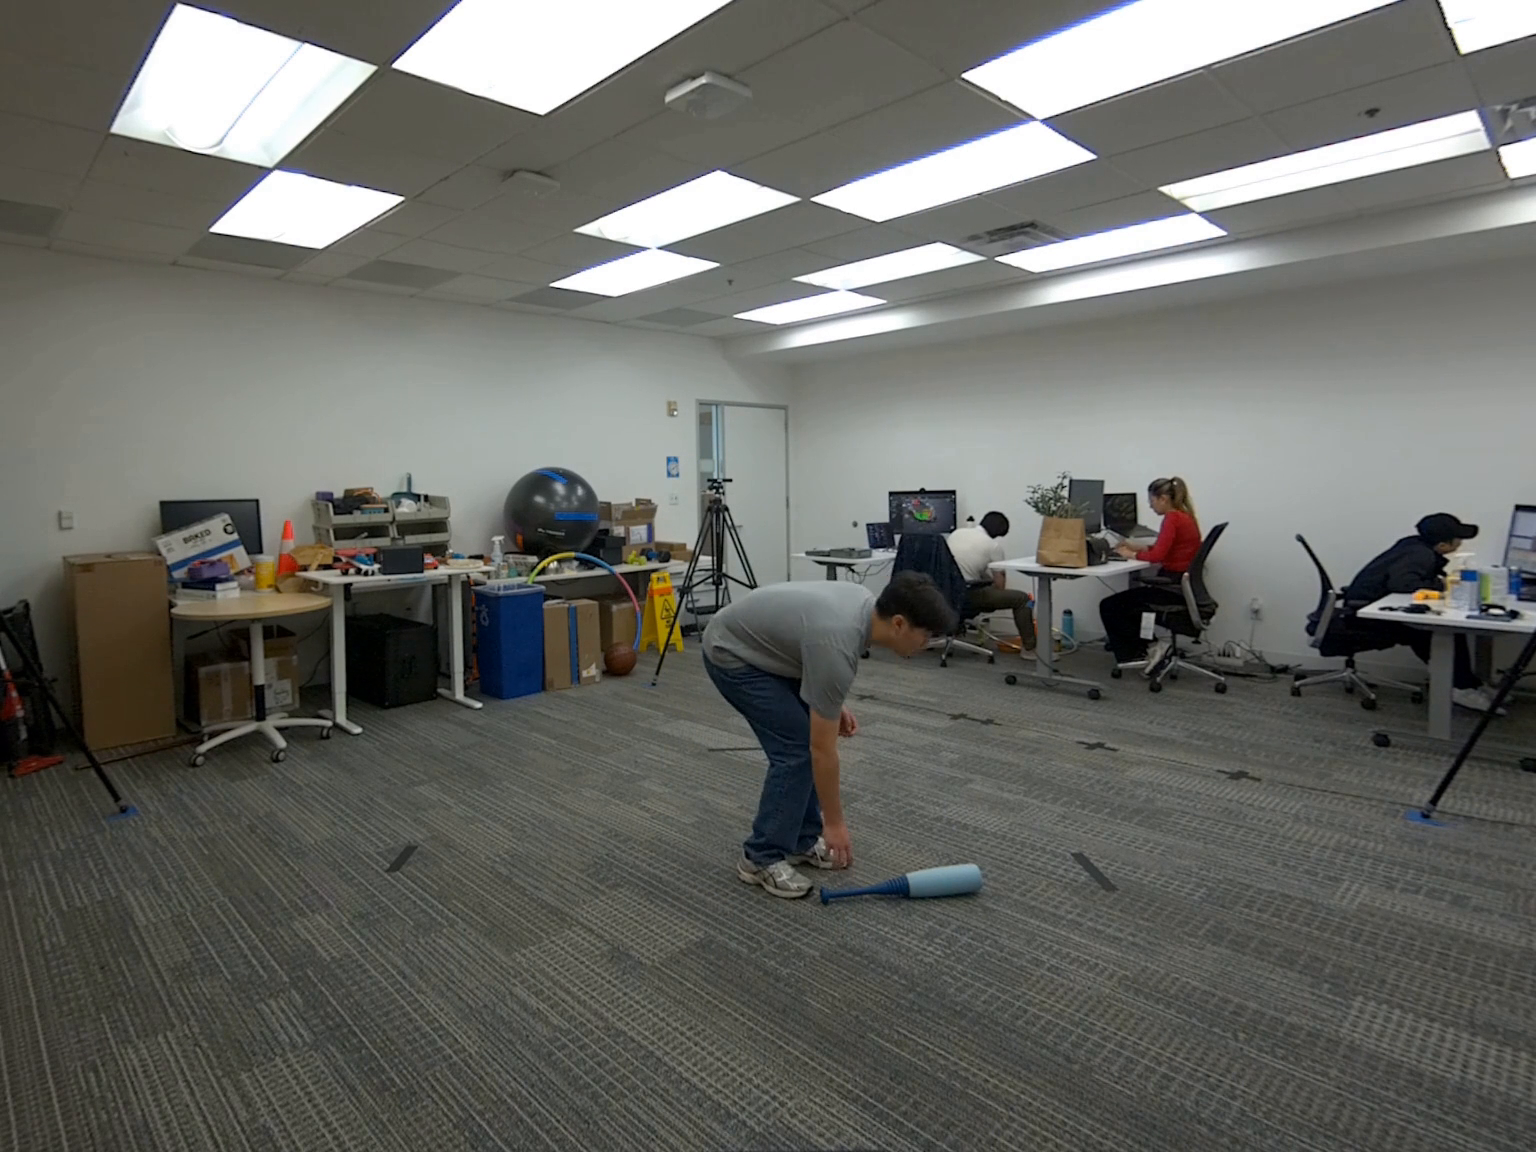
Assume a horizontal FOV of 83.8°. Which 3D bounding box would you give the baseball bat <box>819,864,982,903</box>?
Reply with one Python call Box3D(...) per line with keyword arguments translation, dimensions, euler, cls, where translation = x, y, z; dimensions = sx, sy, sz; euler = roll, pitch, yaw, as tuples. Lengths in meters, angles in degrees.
Box3D(translation=(0.445, 1.028, 2.834), dimensions=(0.541, 0.089, 0.090), euler=(-6, 5, -5), cls="baseball bat")
